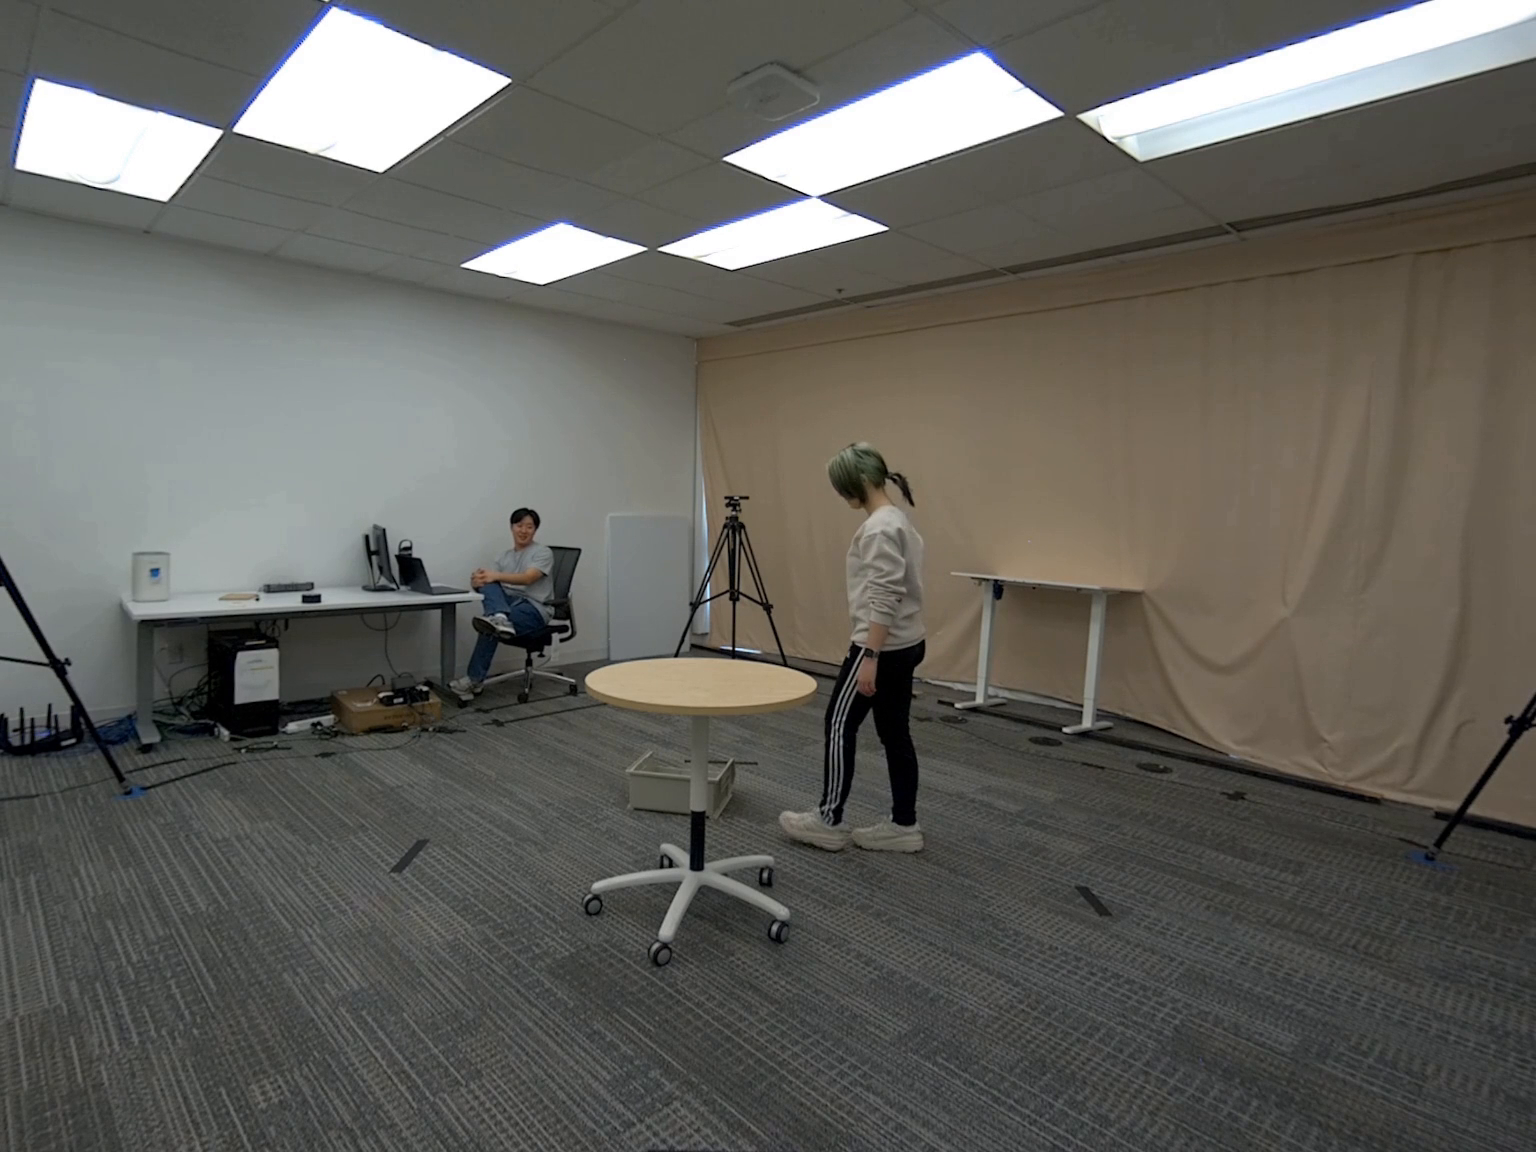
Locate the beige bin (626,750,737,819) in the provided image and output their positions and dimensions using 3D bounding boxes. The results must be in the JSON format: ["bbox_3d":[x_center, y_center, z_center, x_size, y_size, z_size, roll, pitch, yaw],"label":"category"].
[{"bbox_3d":[-0.402,0.942,3.864,0.427,0.188,0.375,3,6,12],"label":"beige bin"}]
